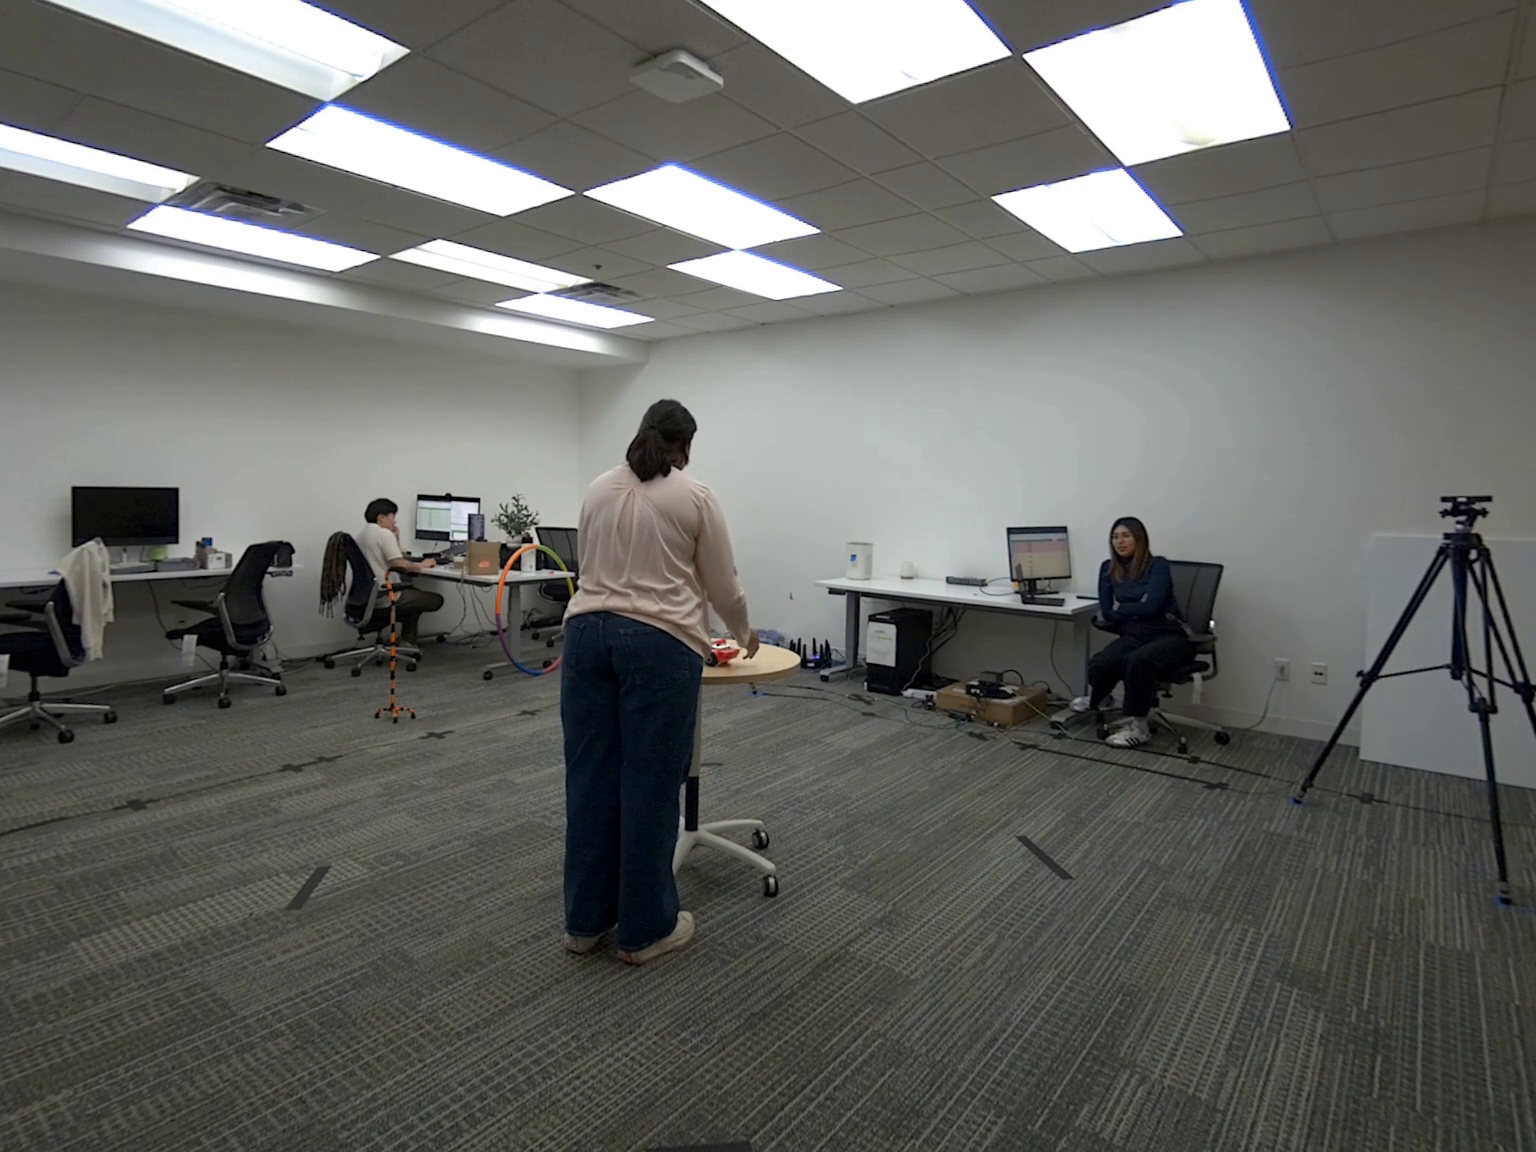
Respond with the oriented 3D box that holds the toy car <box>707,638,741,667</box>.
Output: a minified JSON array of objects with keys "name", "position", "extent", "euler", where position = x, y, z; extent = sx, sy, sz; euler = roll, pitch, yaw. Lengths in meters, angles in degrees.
[{"name":"toy car","position":[-0.217,0.265,2.951],"extent":[0.261,0.083,0.127],"euler":[-8,-2,32]}]
